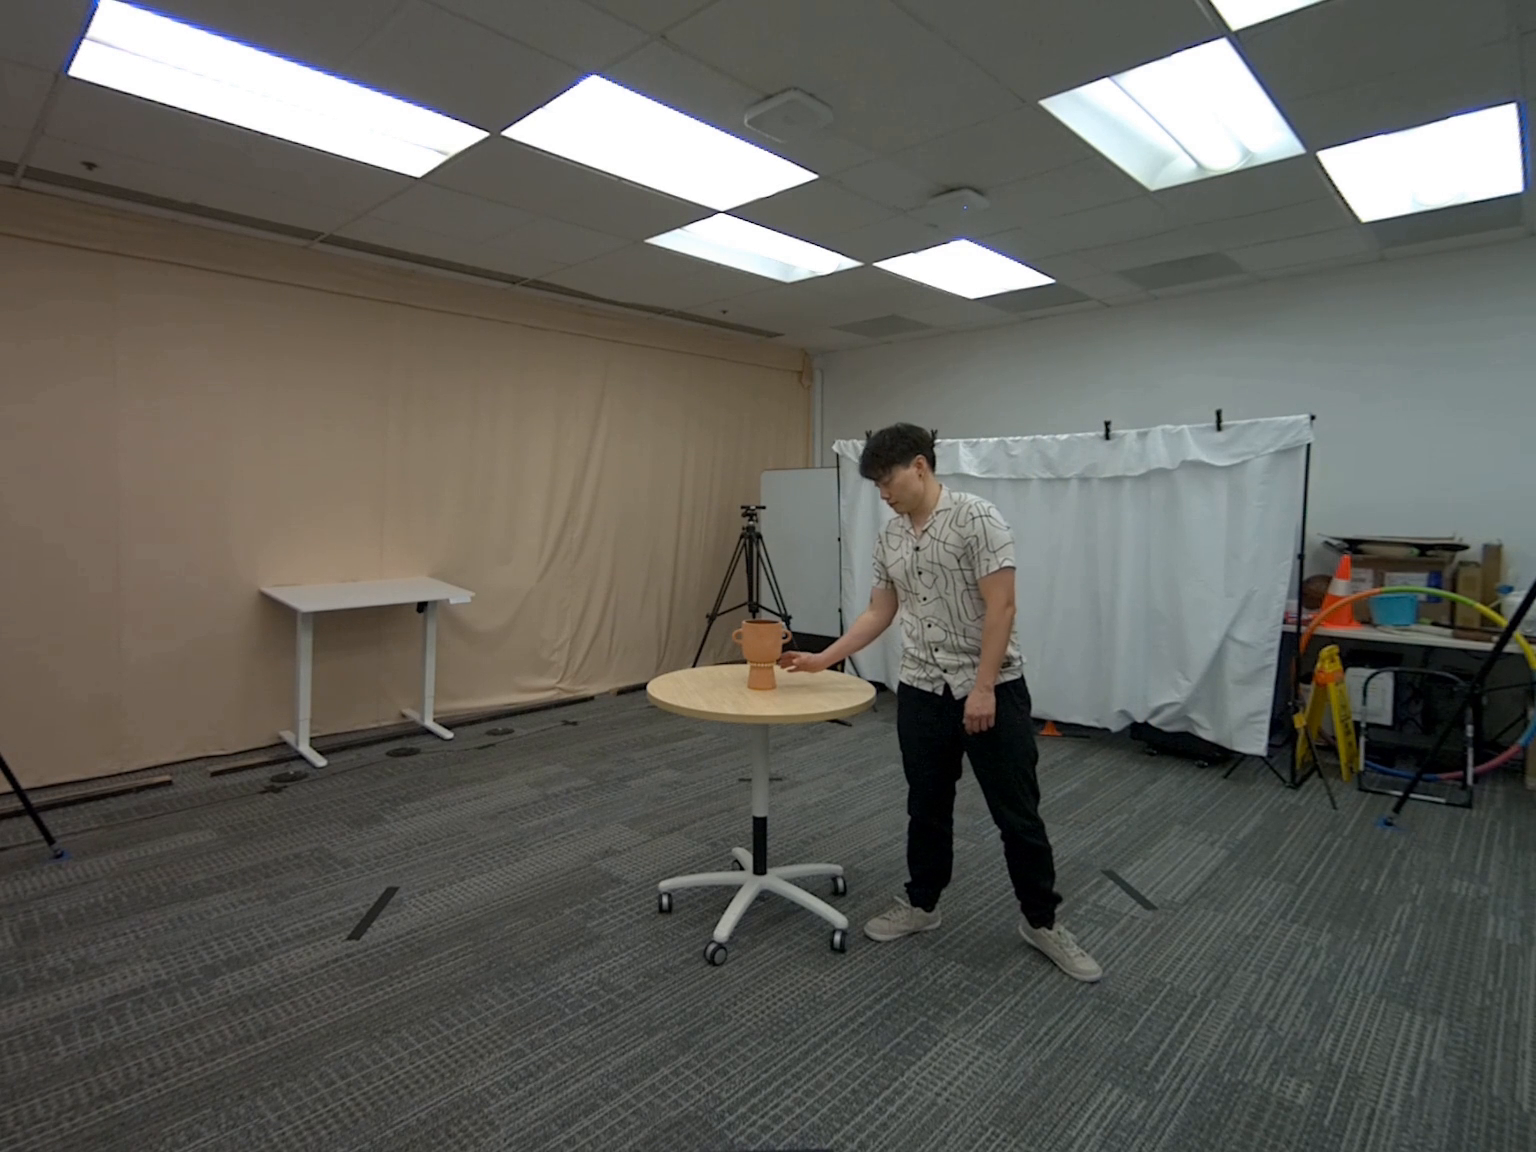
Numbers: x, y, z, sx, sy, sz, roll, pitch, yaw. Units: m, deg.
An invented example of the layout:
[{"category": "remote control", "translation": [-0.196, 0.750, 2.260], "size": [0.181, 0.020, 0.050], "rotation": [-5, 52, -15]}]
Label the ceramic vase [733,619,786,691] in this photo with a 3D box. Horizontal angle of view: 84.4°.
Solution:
[{"category": "ceramic vase", "translation": [-0.015, 0.266, 2.822], "size": [0.164, 0.219, 0.131], "rotation": [3, 4, 35]}]
